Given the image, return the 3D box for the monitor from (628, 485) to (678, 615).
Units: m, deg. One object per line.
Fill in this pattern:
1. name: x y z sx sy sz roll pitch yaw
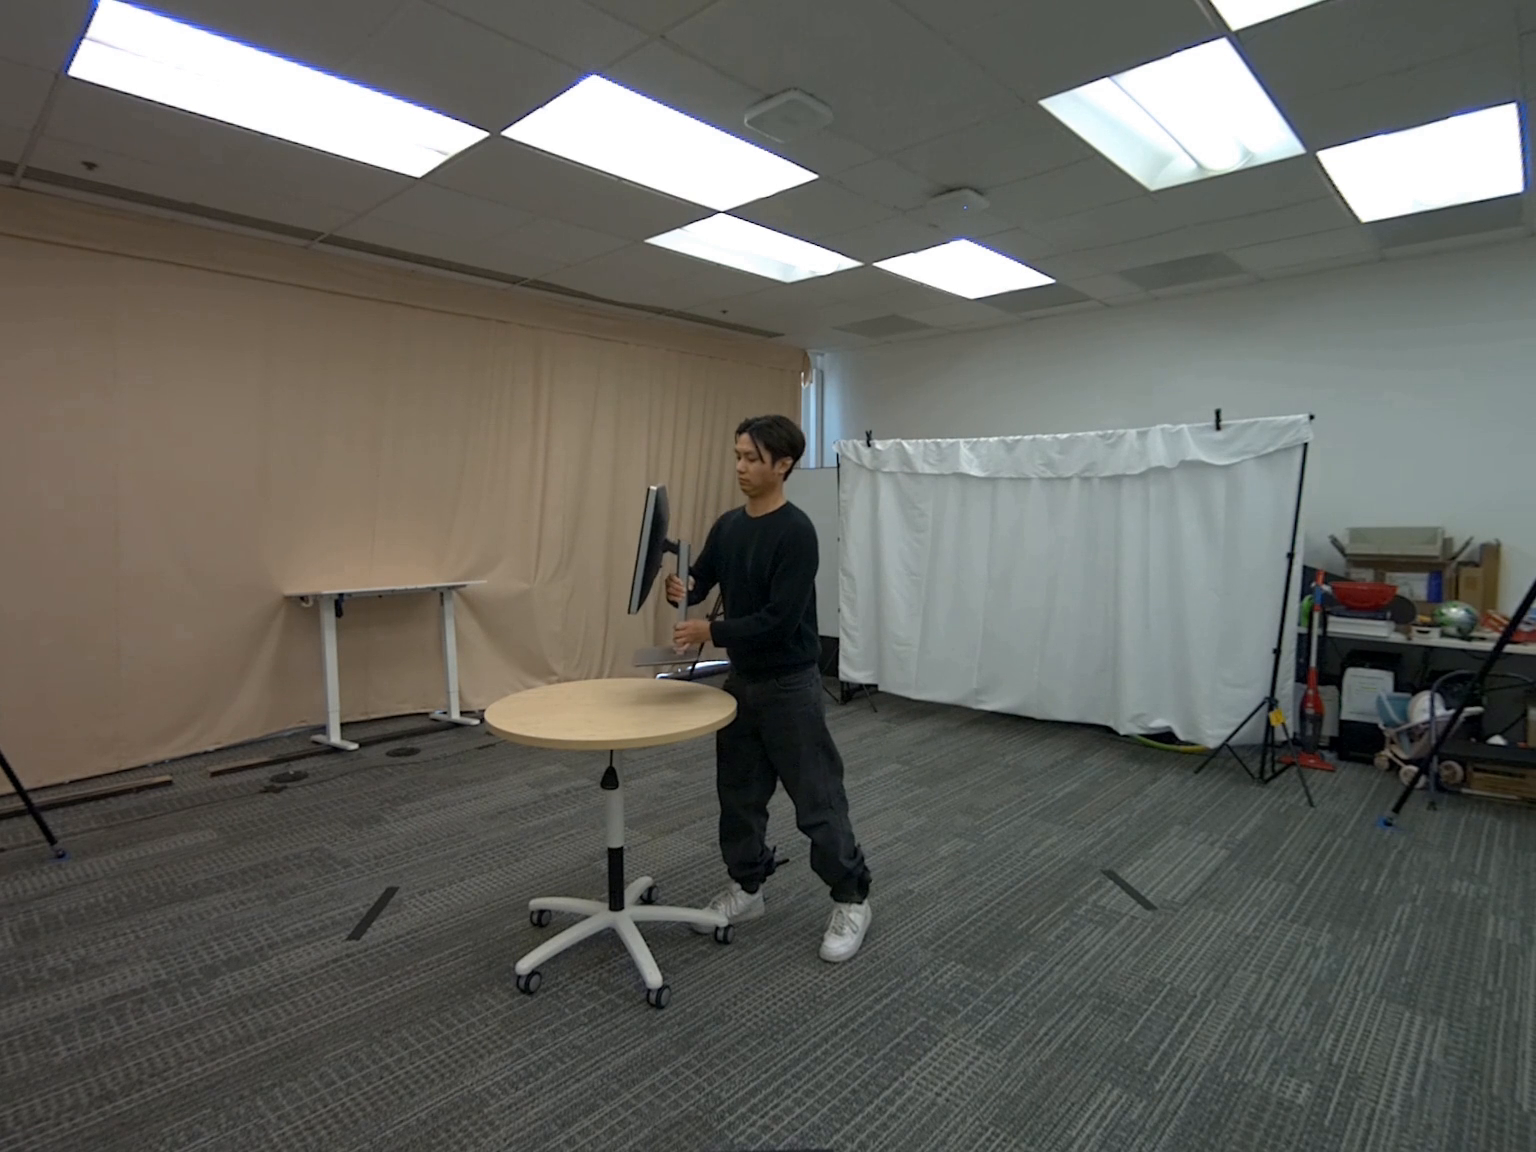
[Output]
1. monitor: -0.331 -0.009 2.626 0.174 0.513 0.534 -8 7 -5
